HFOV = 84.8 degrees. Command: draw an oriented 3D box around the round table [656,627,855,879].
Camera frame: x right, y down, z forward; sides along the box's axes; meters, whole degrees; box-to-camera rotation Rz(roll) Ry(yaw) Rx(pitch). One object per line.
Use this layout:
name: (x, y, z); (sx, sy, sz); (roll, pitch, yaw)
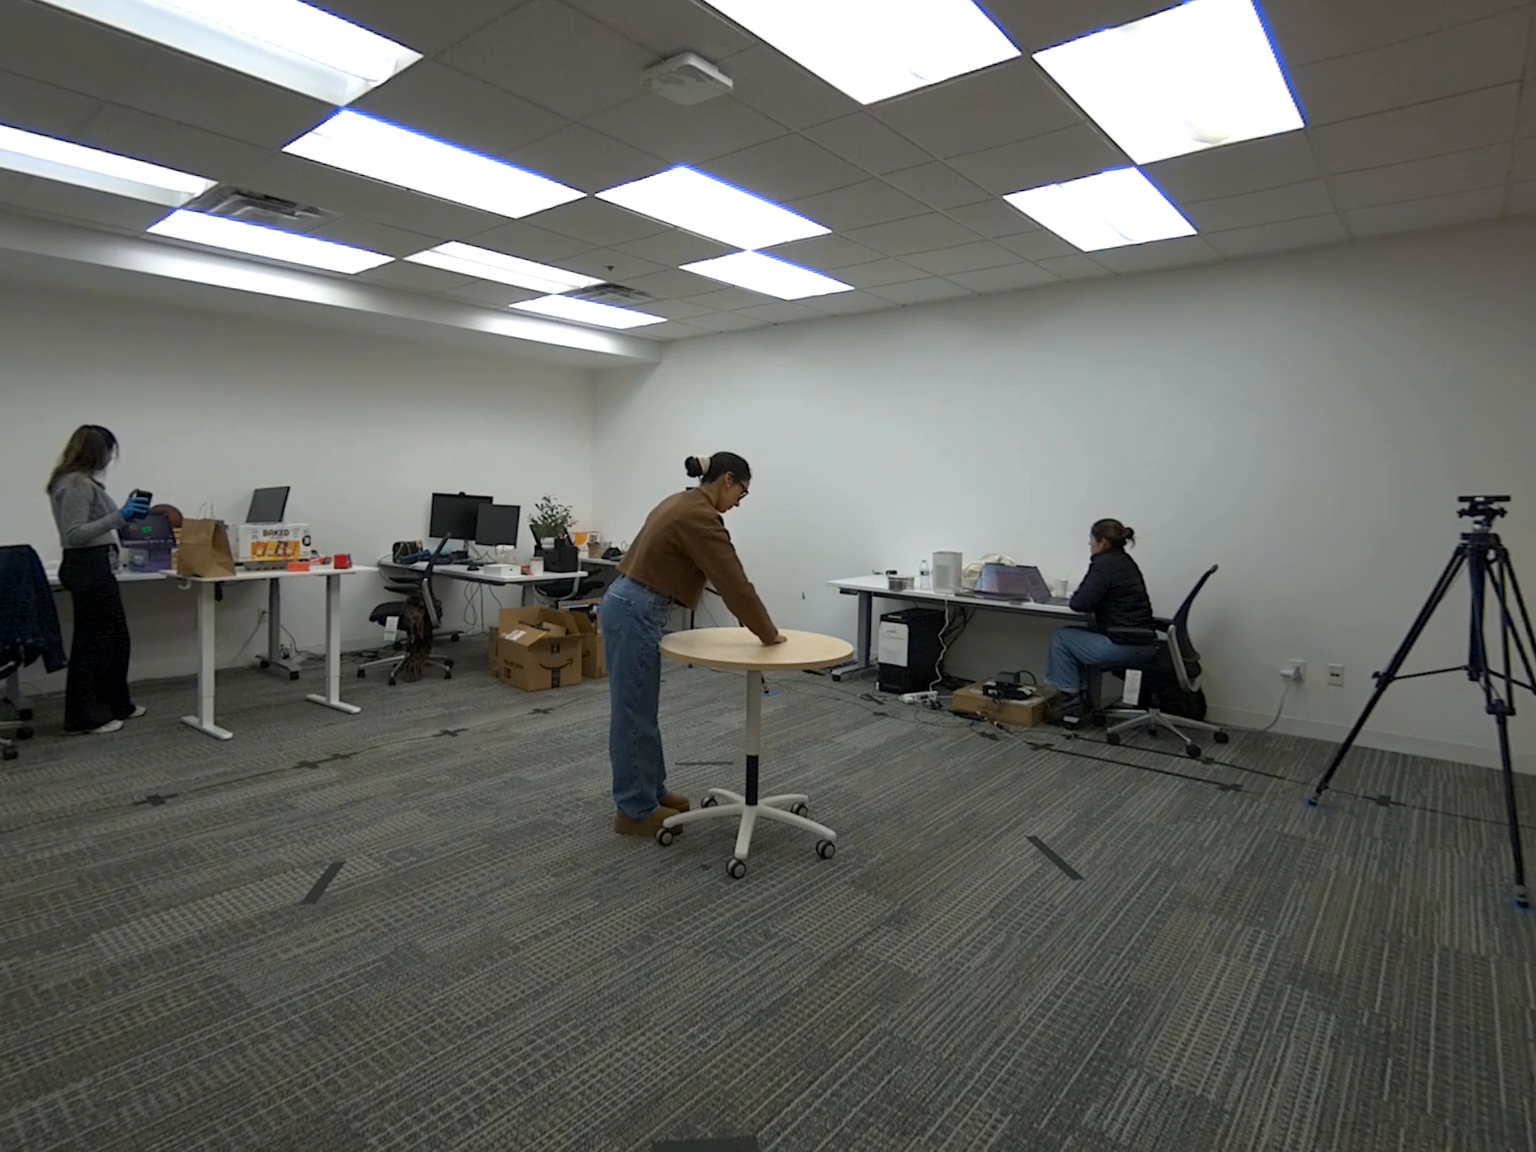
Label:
round table: (-0.066, 0.657, 3.364); (0.763, 0.791, 0.768); (1, 4, -2)
